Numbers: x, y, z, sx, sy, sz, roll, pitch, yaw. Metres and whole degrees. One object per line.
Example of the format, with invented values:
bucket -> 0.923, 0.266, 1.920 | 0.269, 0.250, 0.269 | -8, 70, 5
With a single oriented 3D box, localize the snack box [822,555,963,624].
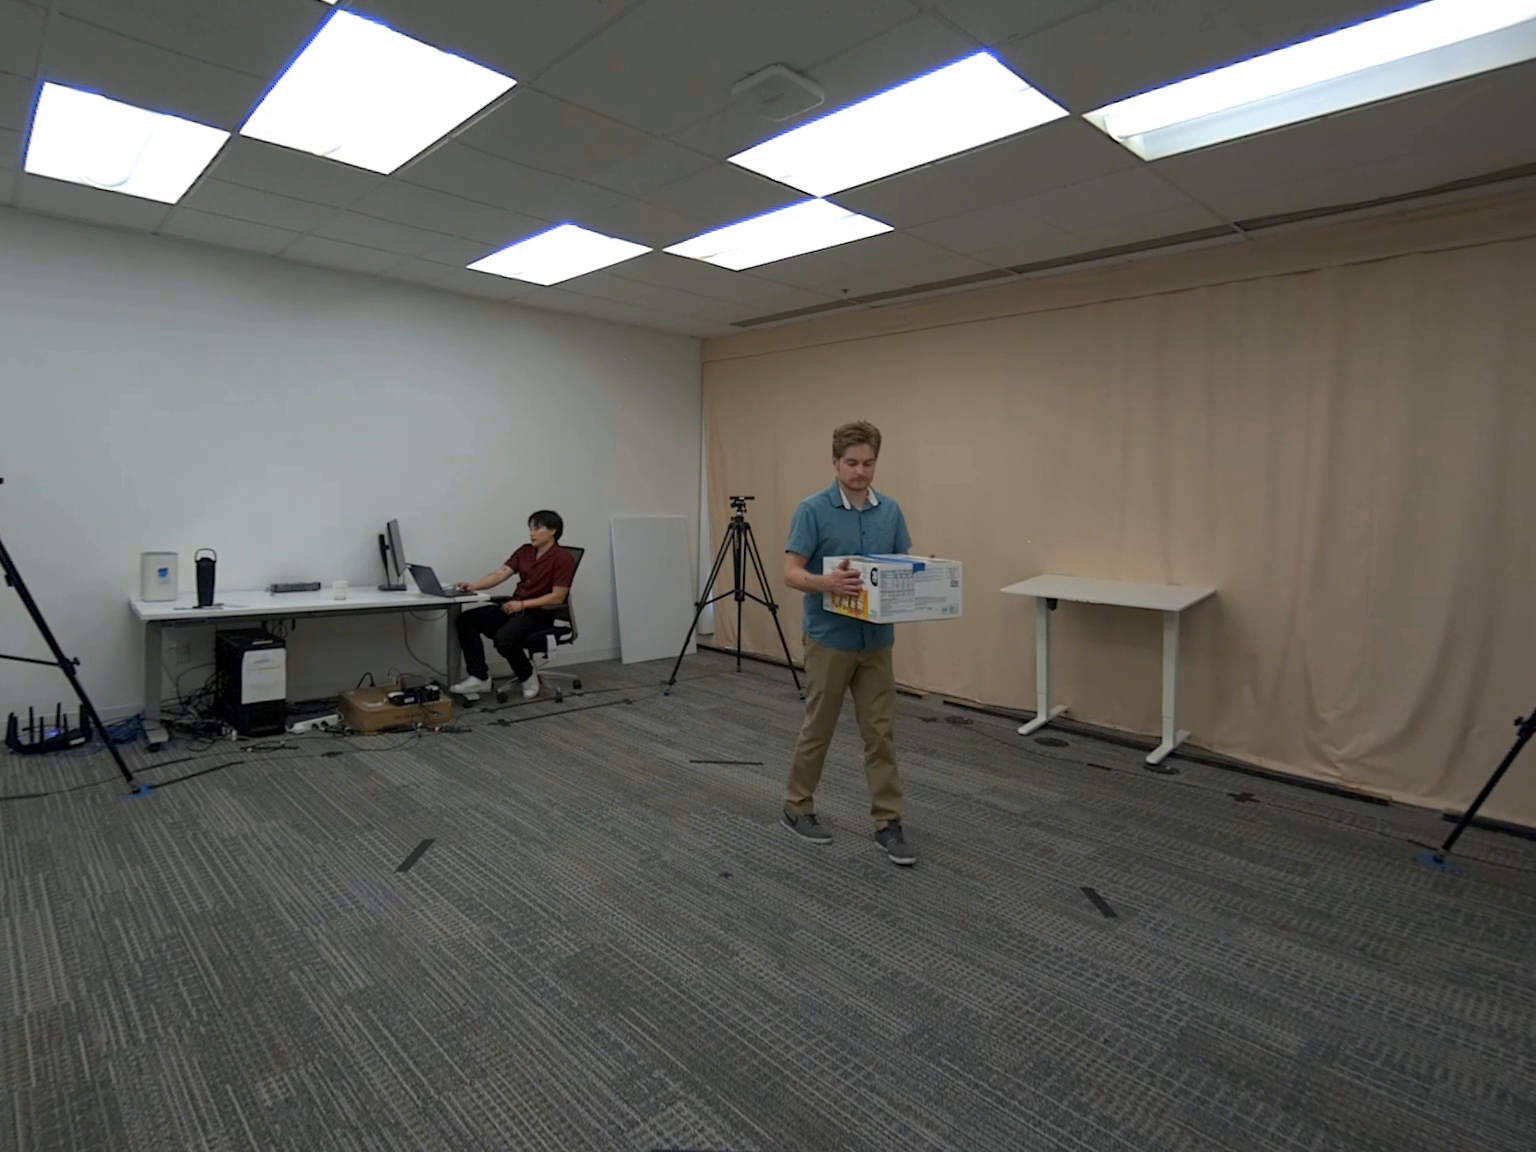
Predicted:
snack box -> 0.434, 0.034, 3.090 | 0.335, 0.205, 0.413 | -3, 5, -22
